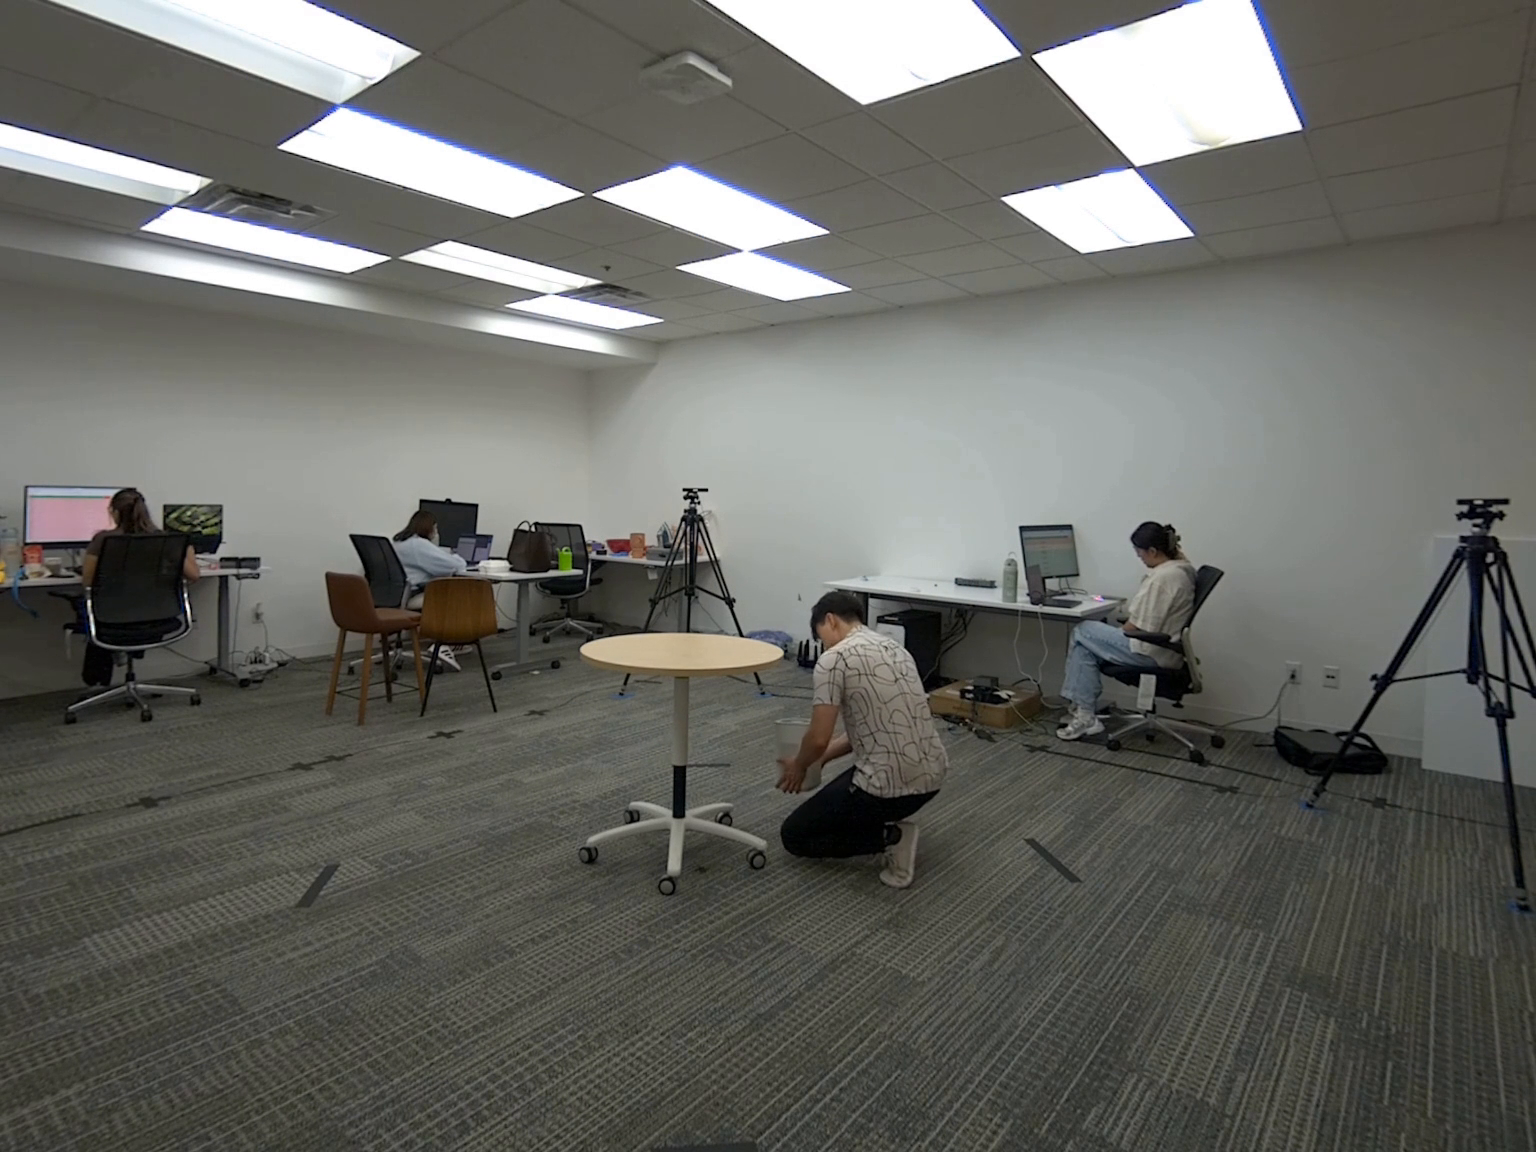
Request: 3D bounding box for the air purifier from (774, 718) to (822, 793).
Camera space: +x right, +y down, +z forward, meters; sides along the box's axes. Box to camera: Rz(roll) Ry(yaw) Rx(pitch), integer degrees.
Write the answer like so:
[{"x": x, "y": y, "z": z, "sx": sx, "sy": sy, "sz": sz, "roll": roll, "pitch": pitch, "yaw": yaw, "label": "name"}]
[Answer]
[{"x": 0.110, "y": 0.713, "z": 3.428, "sx": 0.176, "sy": 0.266, "sz": 0.166, "roll": -2, "pitch": -4, "yaw": 26, "label": "air purifier"}]
